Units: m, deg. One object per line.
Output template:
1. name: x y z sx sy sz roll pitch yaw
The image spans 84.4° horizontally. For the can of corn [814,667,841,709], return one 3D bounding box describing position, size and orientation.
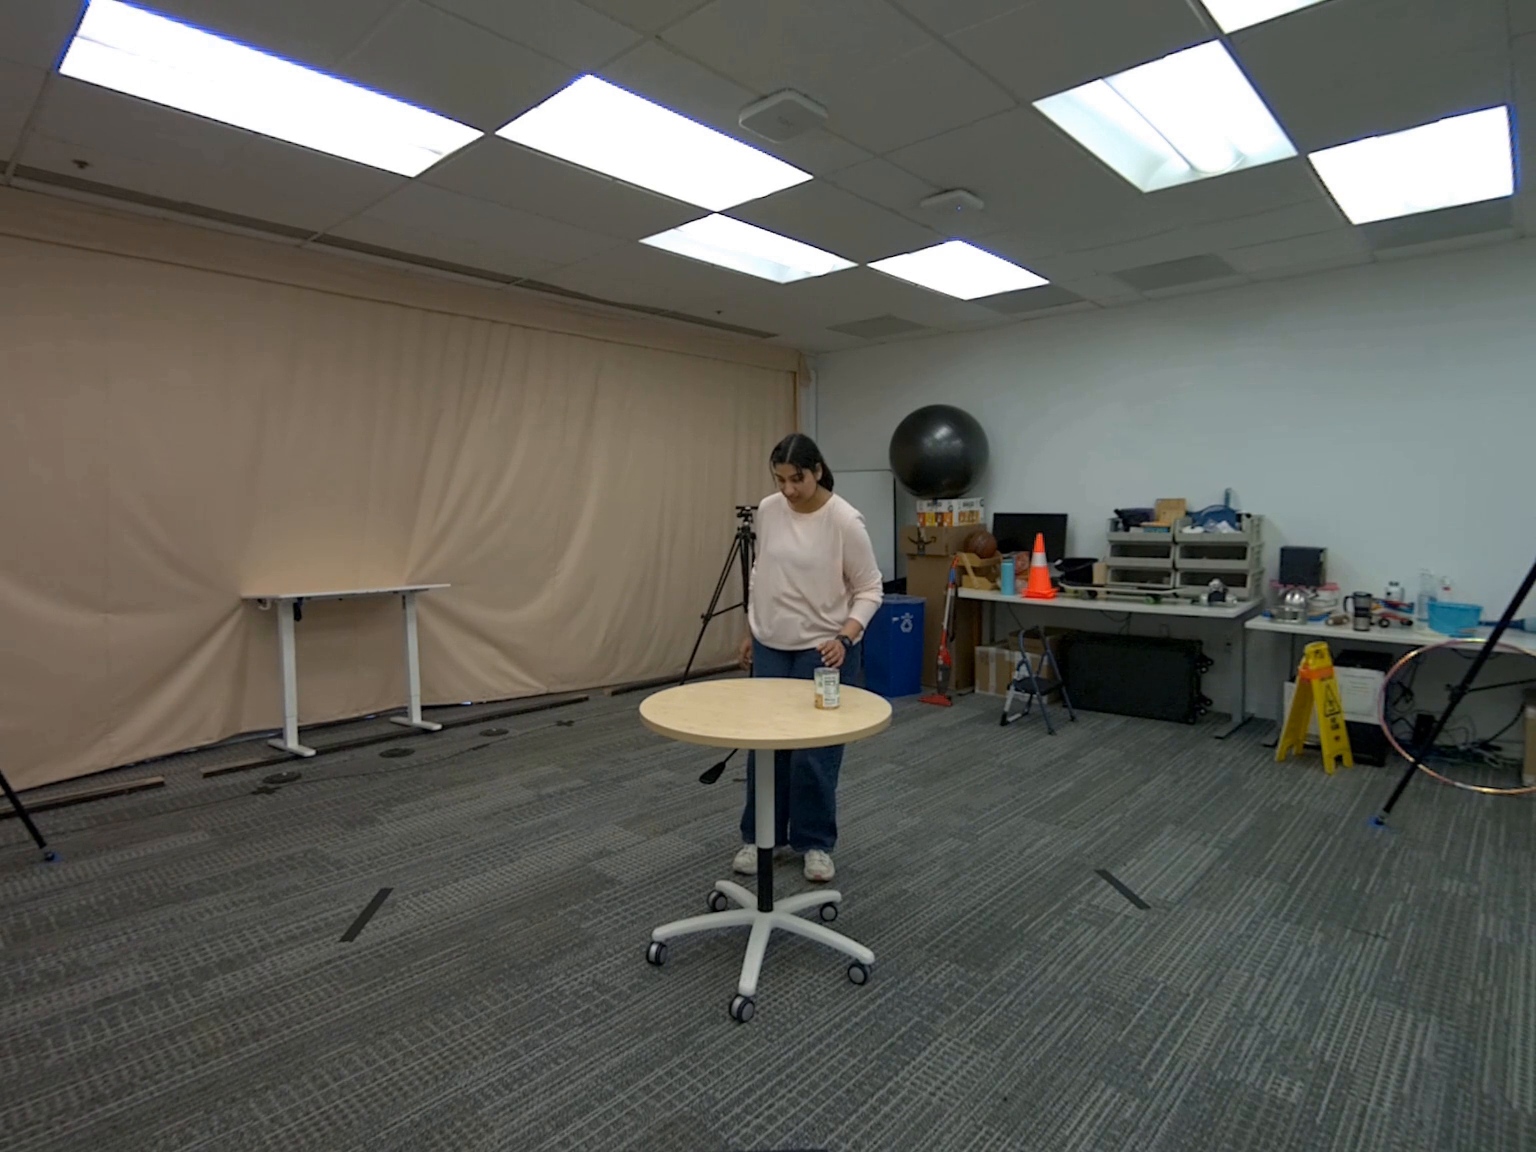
1. can of corn: 0.186 0.341 2.543 0.074 0.111 0.074 -1 4 -2
